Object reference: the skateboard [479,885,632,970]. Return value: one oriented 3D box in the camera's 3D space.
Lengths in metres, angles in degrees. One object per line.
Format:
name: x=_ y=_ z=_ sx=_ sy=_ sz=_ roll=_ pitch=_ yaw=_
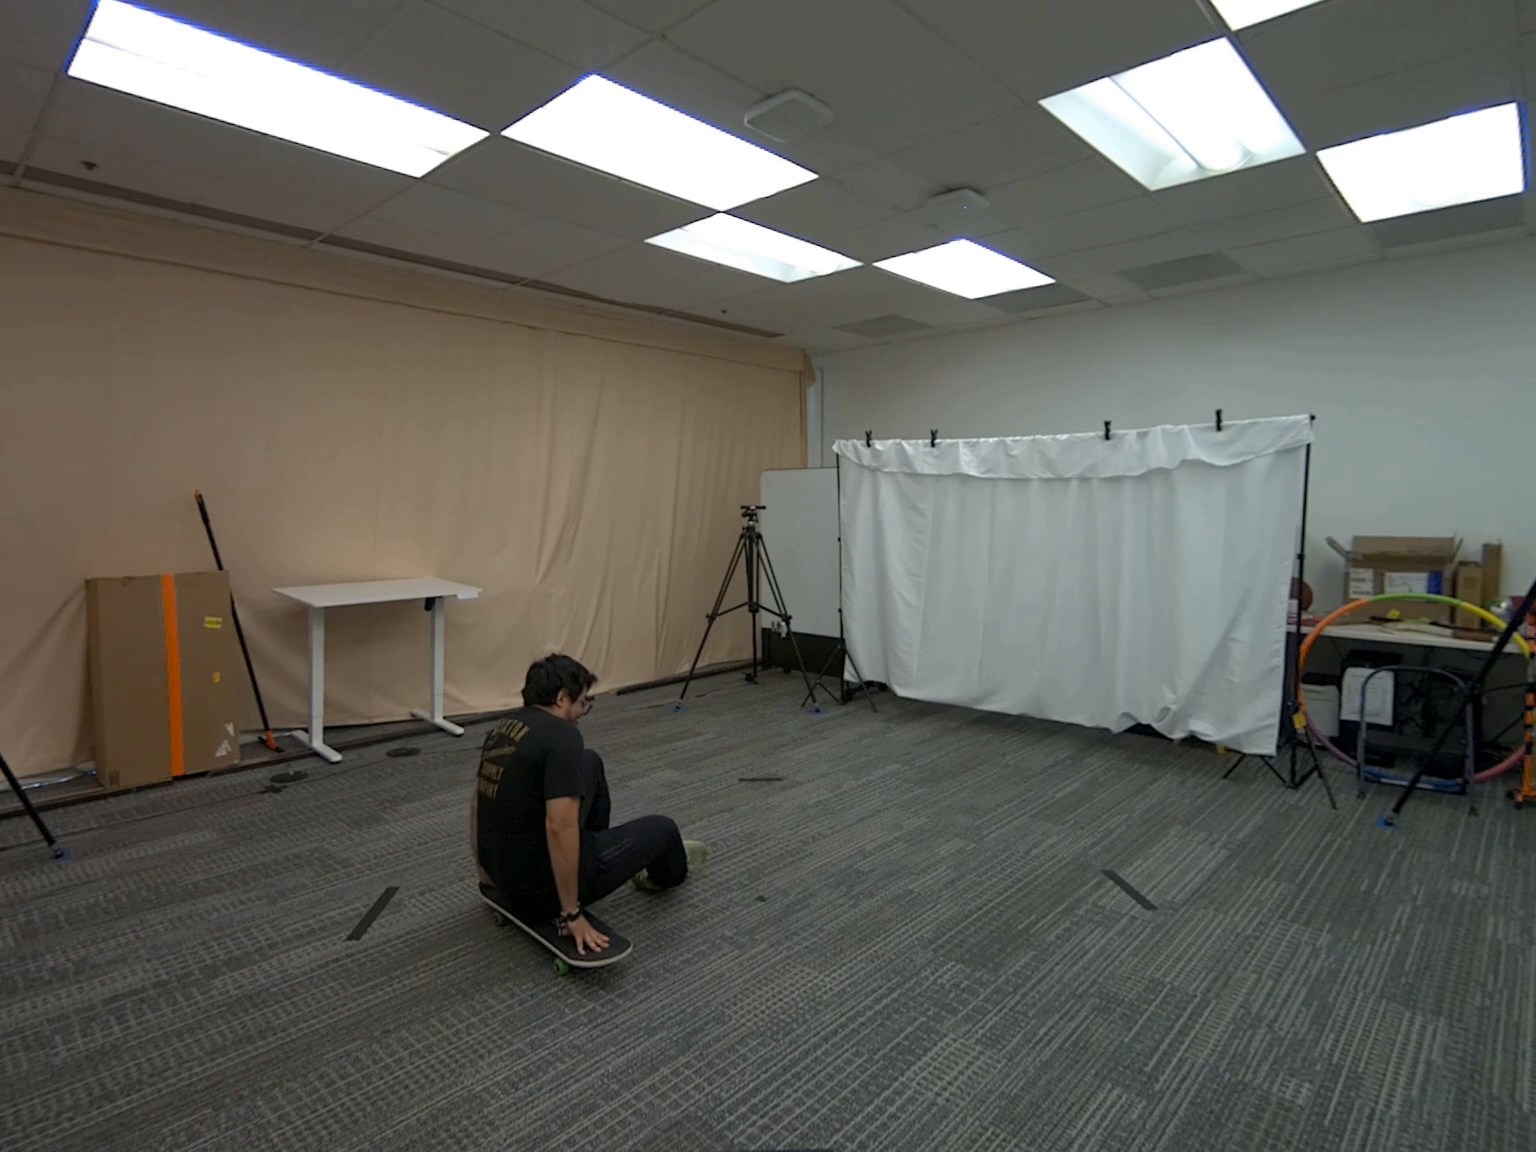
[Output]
skateboard: x=-0.695 y=1.115 z=2.711 sx=0.188 sy=0.110 sz=0.811 roll=-8 pitch=8 yaw=-39
